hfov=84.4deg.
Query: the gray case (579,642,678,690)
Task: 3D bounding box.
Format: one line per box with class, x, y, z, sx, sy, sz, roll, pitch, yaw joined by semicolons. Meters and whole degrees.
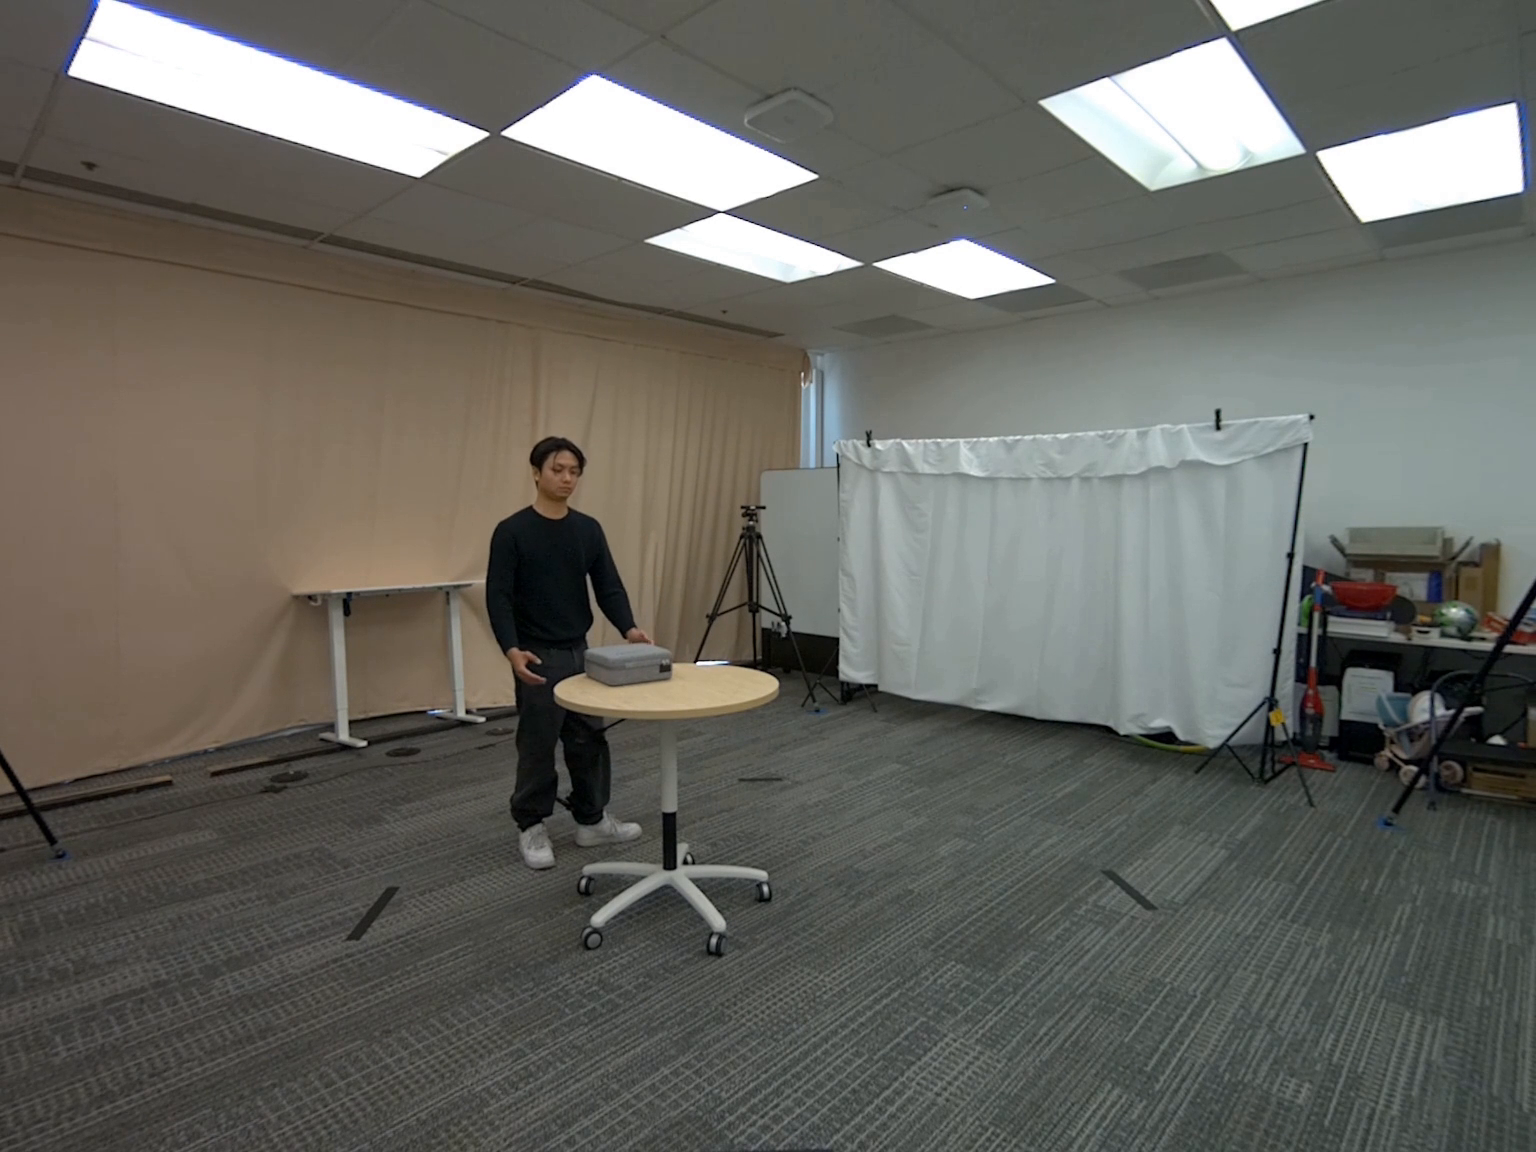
gray case;-0.501;0.309;2.996;0.250;0.104;0.268;-6;6;-33
